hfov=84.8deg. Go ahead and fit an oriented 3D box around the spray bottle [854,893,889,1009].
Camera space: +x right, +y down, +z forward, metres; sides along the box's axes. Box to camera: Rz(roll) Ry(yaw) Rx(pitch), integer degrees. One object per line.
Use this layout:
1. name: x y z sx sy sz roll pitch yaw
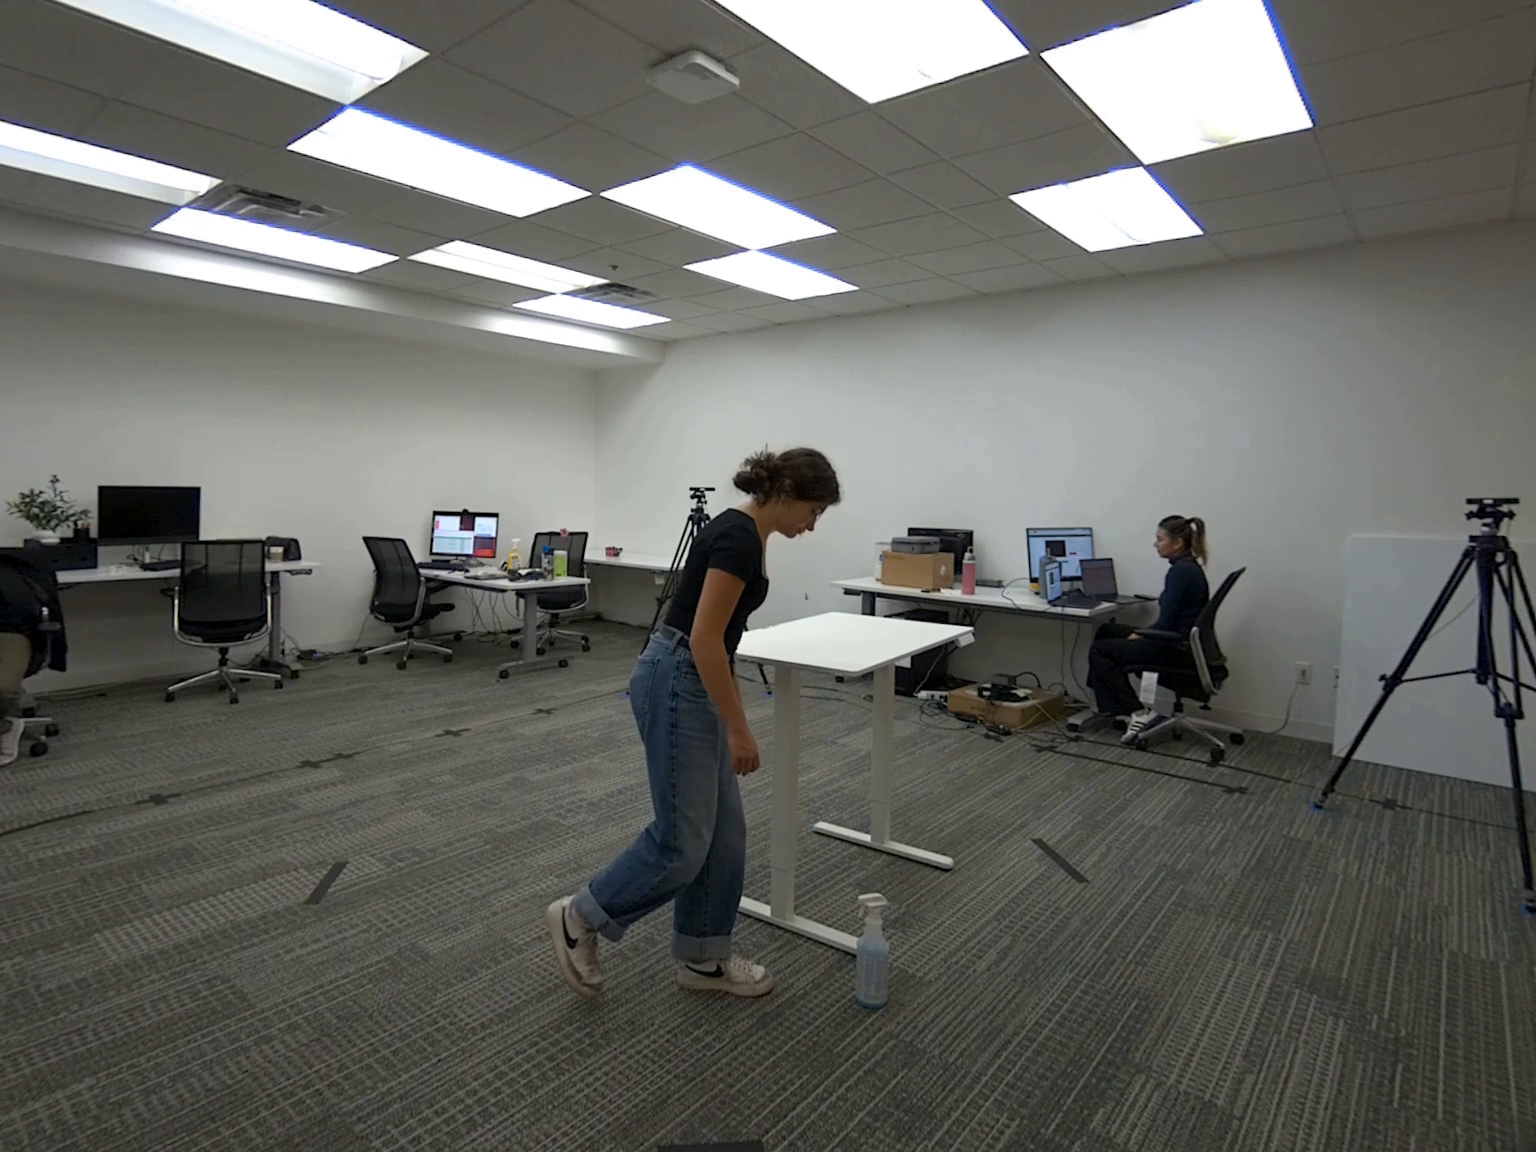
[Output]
1. spray bottle: 0.278 1.015 2.311 0.090 0.297 0.087 0 2 1
